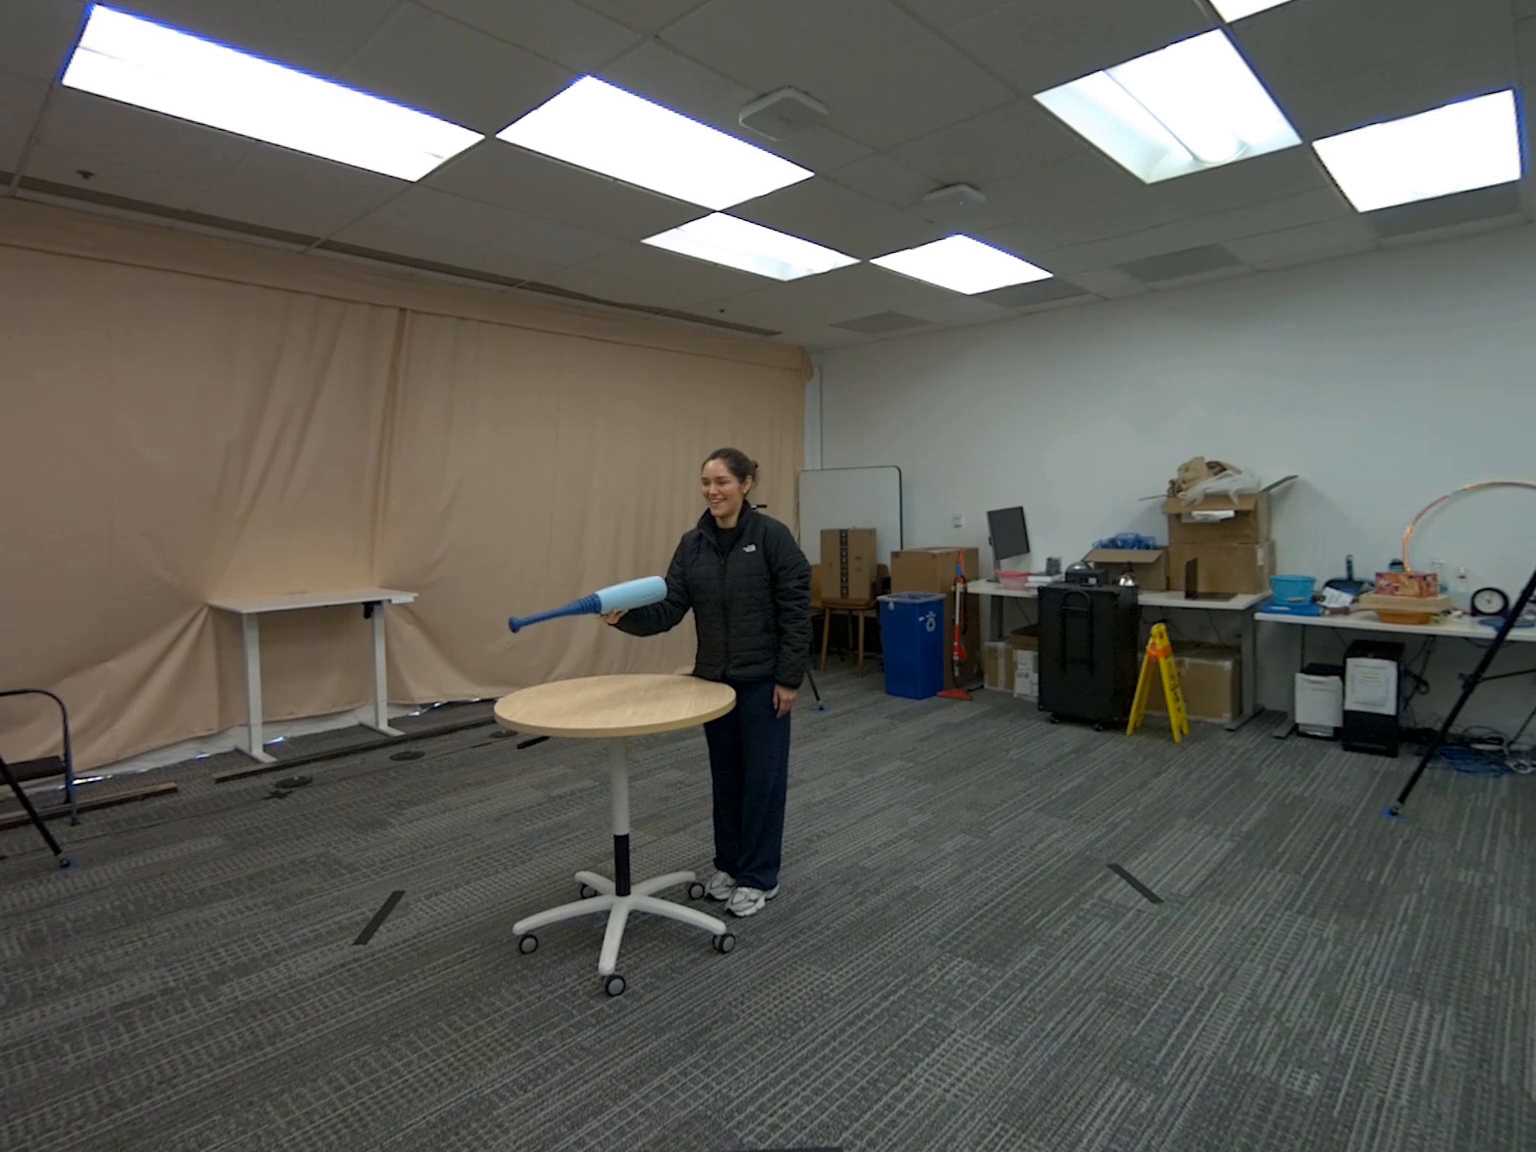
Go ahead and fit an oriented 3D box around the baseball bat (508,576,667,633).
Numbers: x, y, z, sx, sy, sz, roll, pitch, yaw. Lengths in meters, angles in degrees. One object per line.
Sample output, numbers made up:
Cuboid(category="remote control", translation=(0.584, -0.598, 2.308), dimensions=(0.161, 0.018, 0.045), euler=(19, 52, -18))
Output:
Cuboid(category="baseball bat", translation=(-0.556, 0.094, 2.664), dimensions=(0.529, 0.088, 0.092), euler=(-15, 12, -35))
